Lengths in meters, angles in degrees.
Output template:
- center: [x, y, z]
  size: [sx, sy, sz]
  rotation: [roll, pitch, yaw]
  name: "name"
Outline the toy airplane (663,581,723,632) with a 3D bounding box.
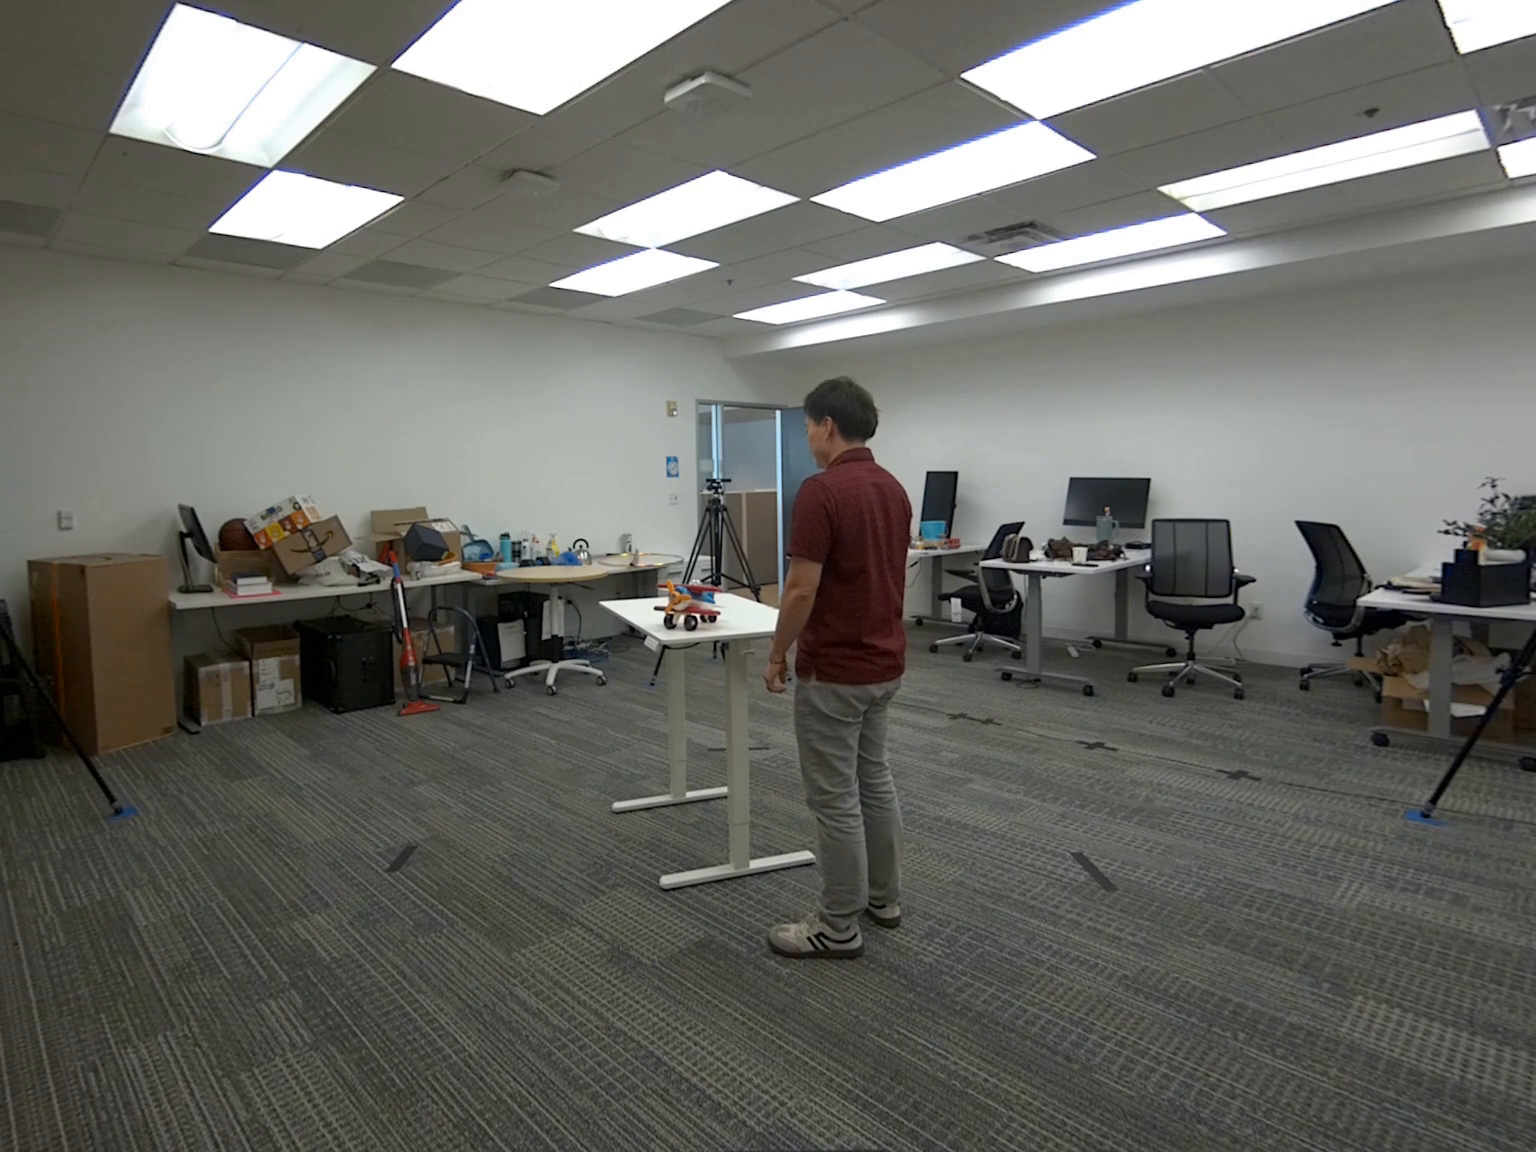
- center: [-0.276, 0.100, 3.012]
  size: [0.252, 0.156, 0.259]
  rotation: [-1, 6, 2]
  name: "toy airplane"
